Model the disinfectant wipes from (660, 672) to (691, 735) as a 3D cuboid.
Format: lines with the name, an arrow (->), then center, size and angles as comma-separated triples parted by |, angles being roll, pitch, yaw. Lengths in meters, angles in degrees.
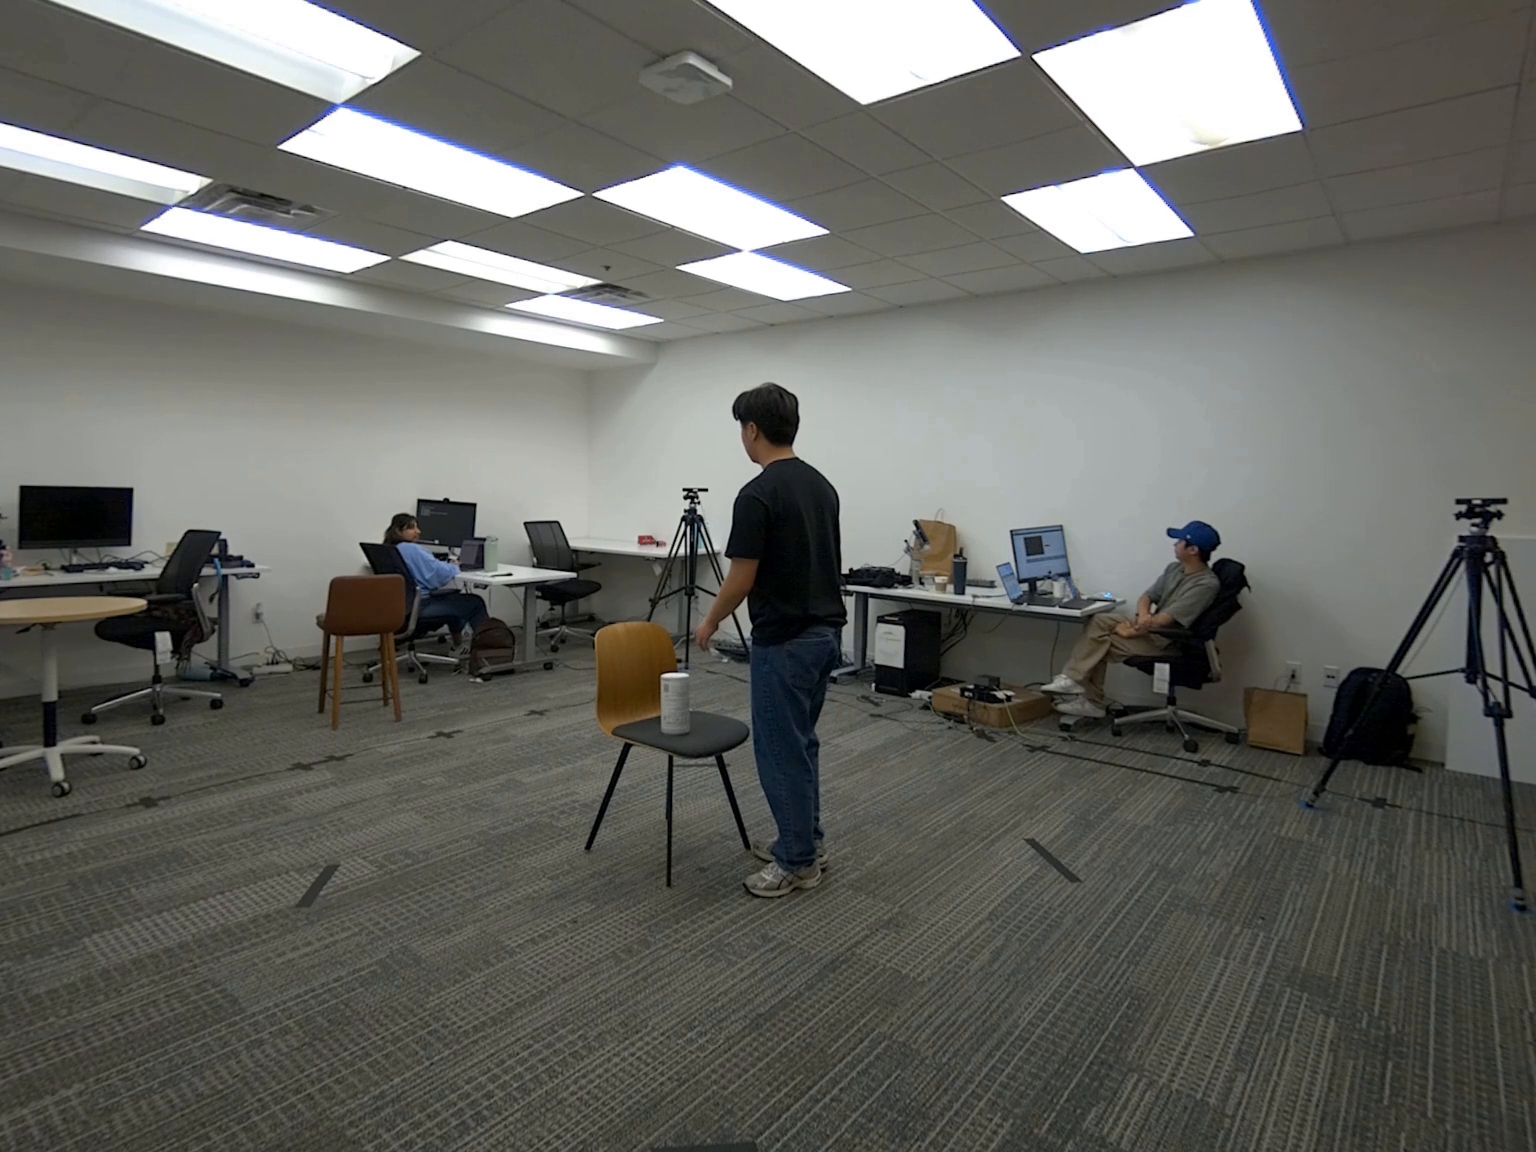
disinfectant wipes -> -0.356, 0.476, 3.197 | 0.118, 0.217, 0.118 | -1, 0, -2
